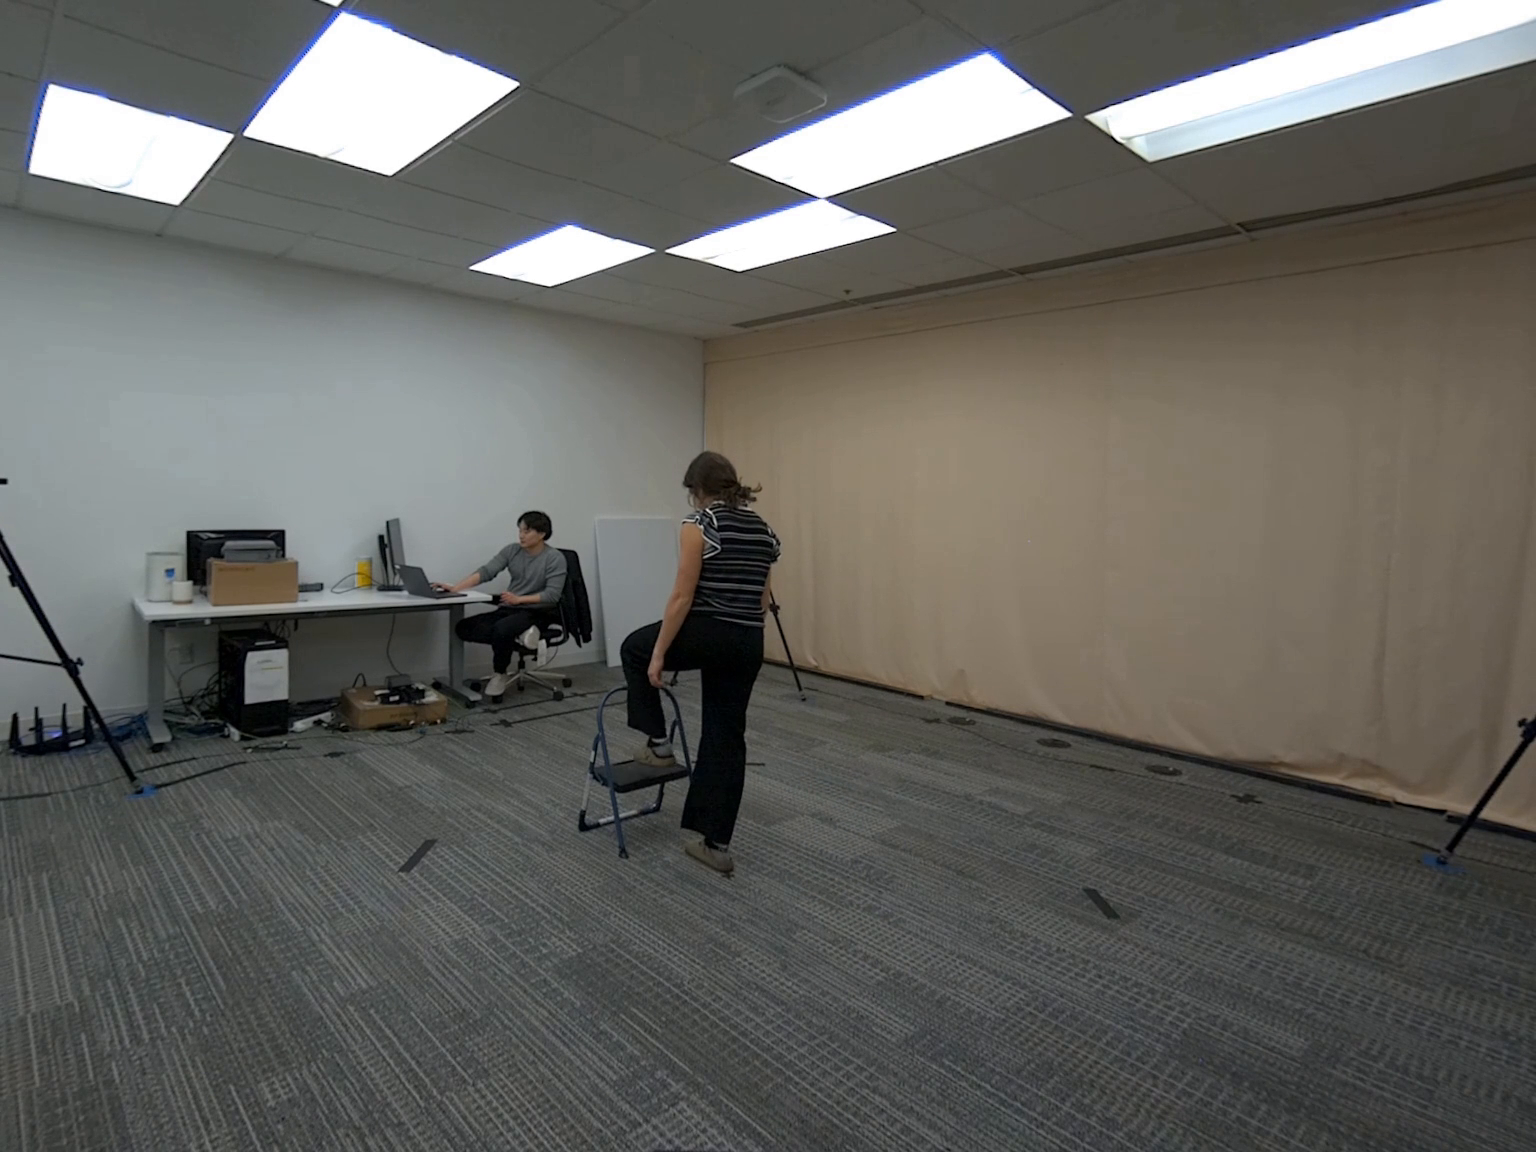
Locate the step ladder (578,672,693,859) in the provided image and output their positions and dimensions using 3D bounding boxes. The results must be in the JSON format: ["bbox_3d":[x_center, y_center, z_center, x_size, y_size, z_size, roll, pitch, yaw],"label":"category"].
[{"bbox_3d":[-0.523,0.762,3.486,0.421,0.604,0.358,-2,5,-43],"label":"step ladder"}]
